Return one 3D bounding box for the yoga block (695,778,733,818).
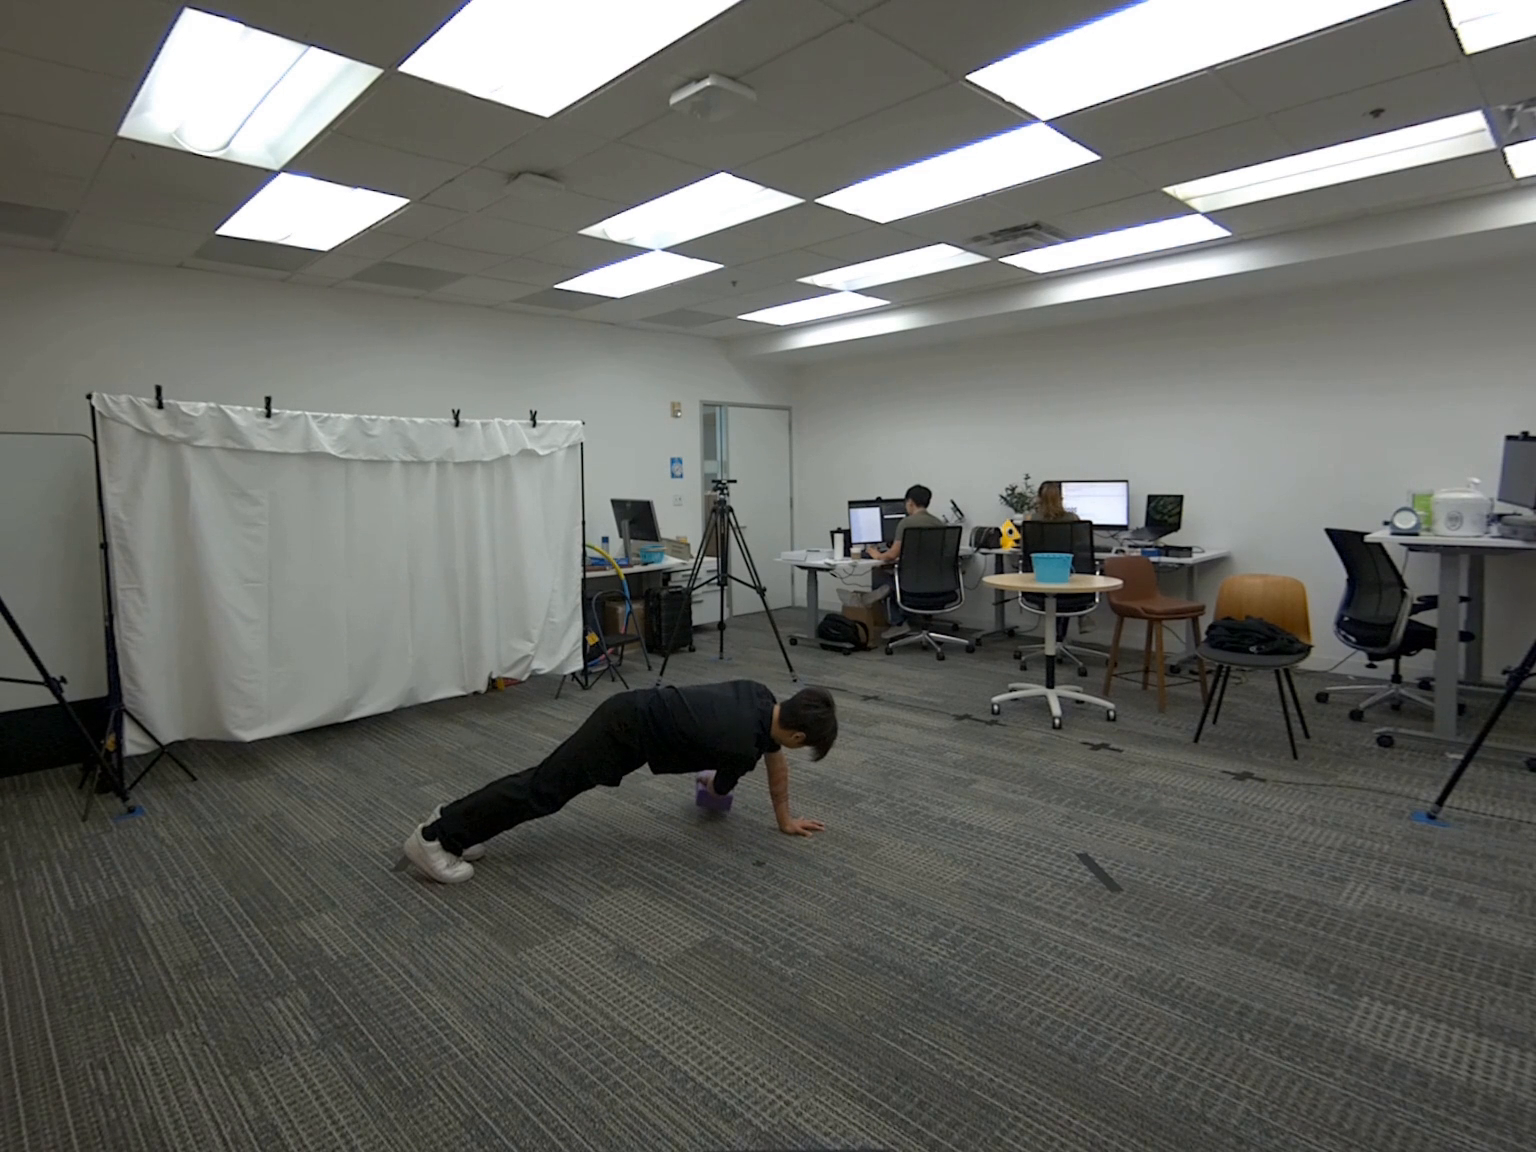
[{"bbox_3d":[-0.220,0.908,3.637,0.148,0.076,0.232,13,10,-6],"label":"yoga block"}]
